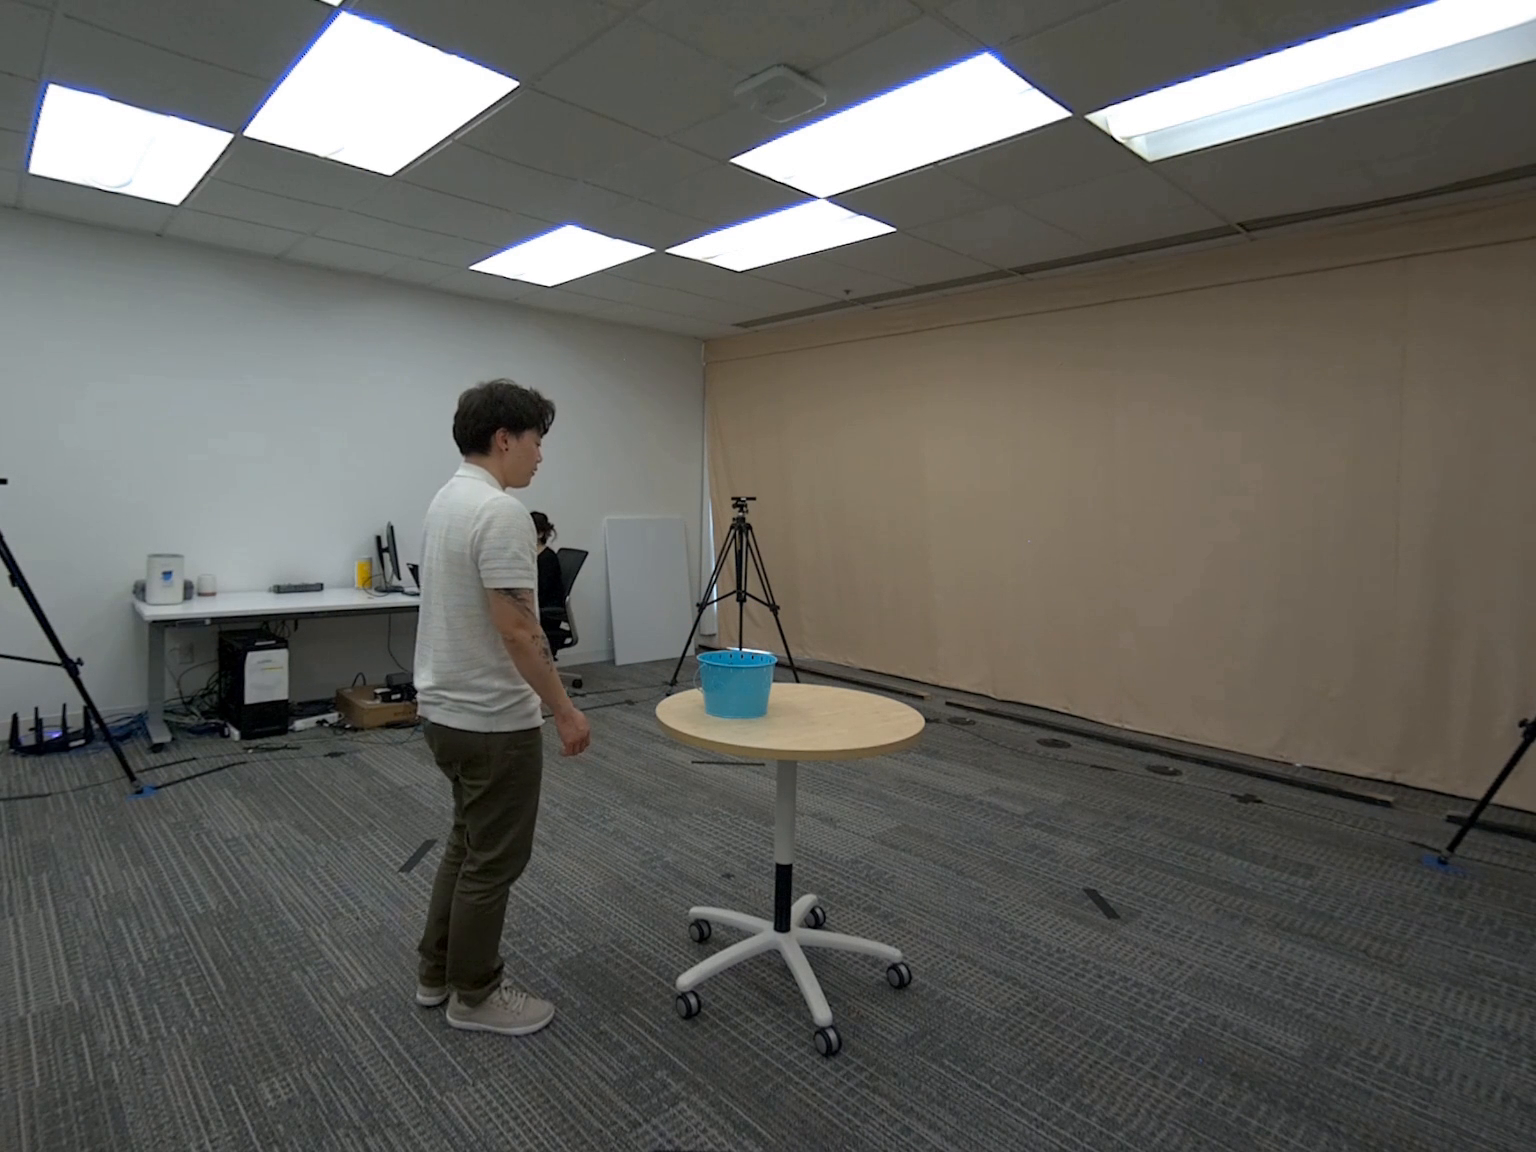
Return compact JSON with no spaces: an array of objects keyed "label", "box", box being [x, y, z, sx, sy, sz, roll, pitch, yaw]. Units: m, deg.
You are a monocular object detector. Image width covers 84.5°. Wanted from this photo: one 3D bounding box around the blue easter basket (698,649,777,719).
[{"label":"blue easter basket","box":[-0.094,0.314,2.416,0.243,0.155,0.244,1,4,-1]}]
